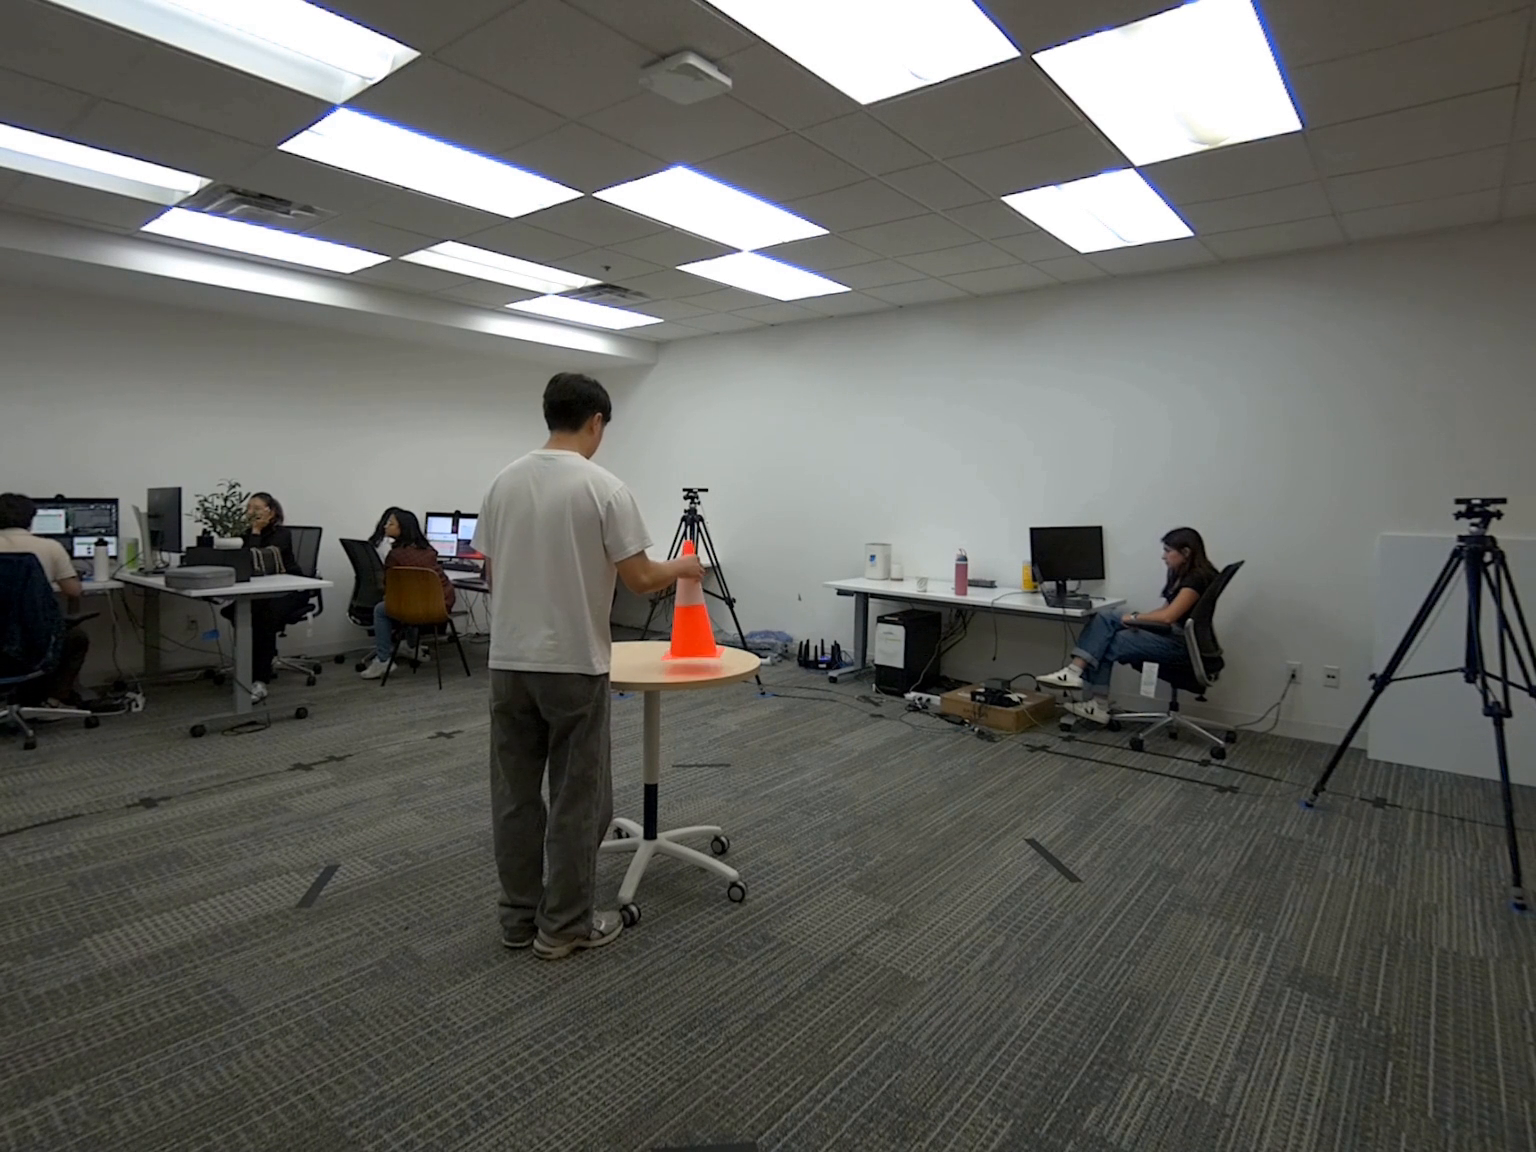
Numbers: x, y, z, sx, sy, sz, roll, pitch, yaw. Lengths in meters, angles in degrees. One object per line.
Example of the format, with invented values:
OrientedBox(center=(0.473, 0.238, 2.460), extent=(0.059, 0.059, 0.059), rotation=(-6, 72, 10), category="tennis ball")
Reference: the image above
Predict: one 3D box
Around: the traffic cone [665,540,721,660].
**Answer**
OrientedBox(center=(-0.269, 0.062, 2.856), extent=(0.207, 0.382, 0.202), rotation=(-1, 4, 7), category="traffic cone")
